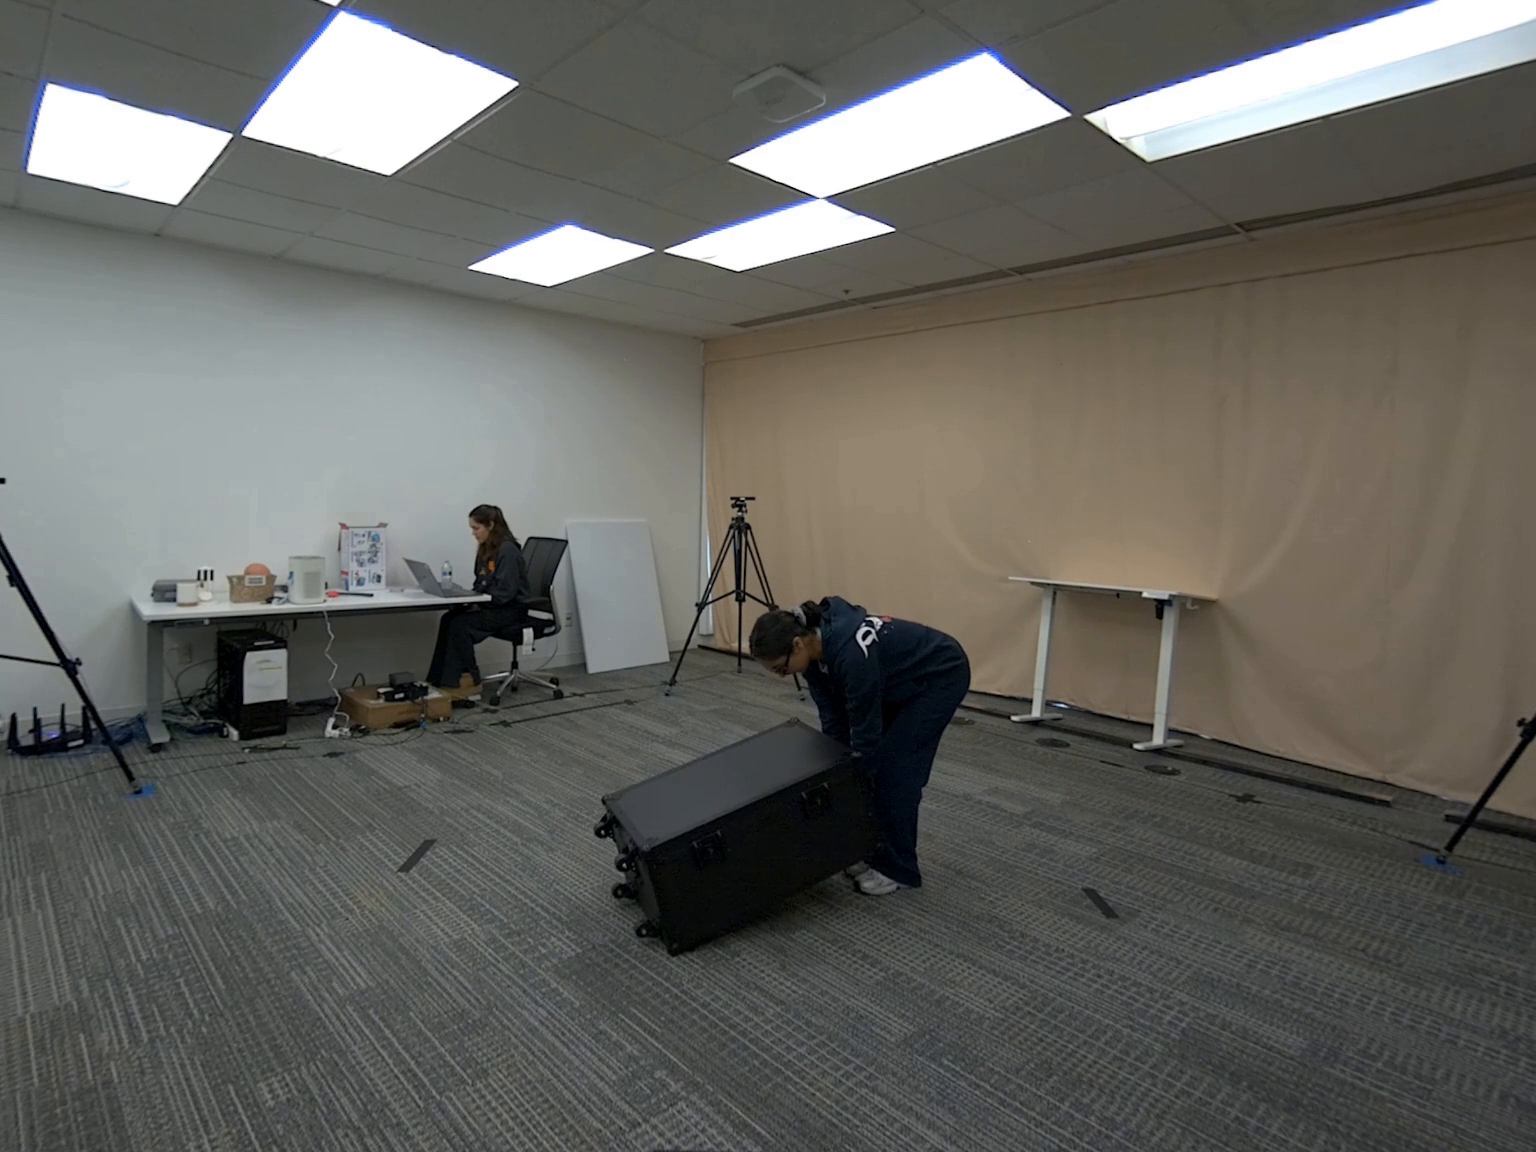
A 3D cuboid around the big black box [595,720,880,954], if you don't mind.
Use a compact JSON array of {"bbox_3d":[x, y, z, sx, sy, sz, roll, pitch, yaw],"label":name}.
[{"bbox_3d":[-0.127,0.843,2.831,0.852,0.516,0.405,-17,13,-22],"label":"big black box"}]
